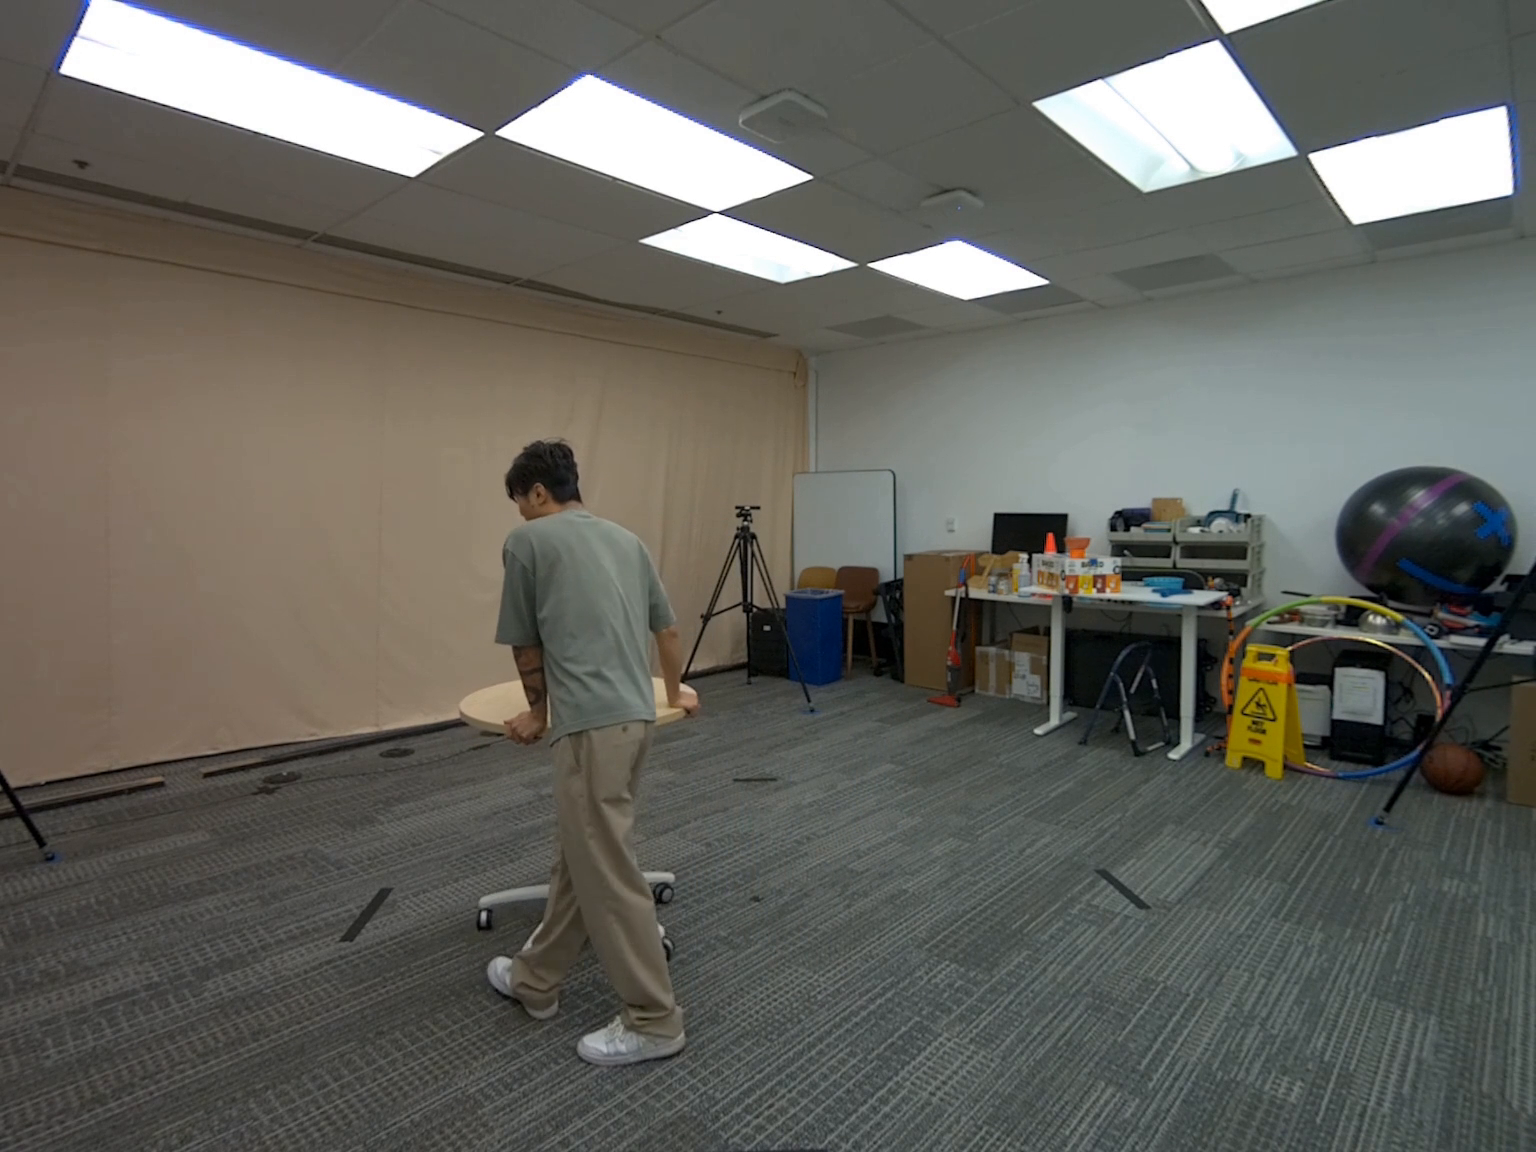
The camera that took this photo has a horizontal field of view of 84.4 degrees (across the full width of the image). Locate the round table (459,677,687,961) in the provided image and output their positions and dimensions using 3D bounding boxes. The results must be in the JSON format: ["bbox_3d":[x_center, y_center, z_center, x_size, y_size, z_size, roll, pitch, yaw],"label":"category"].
[{"bbox_3d":[-0.594,0.781,2.784,0.784,0.784,0.788,-1,4,-2],"label":"round table"}]
